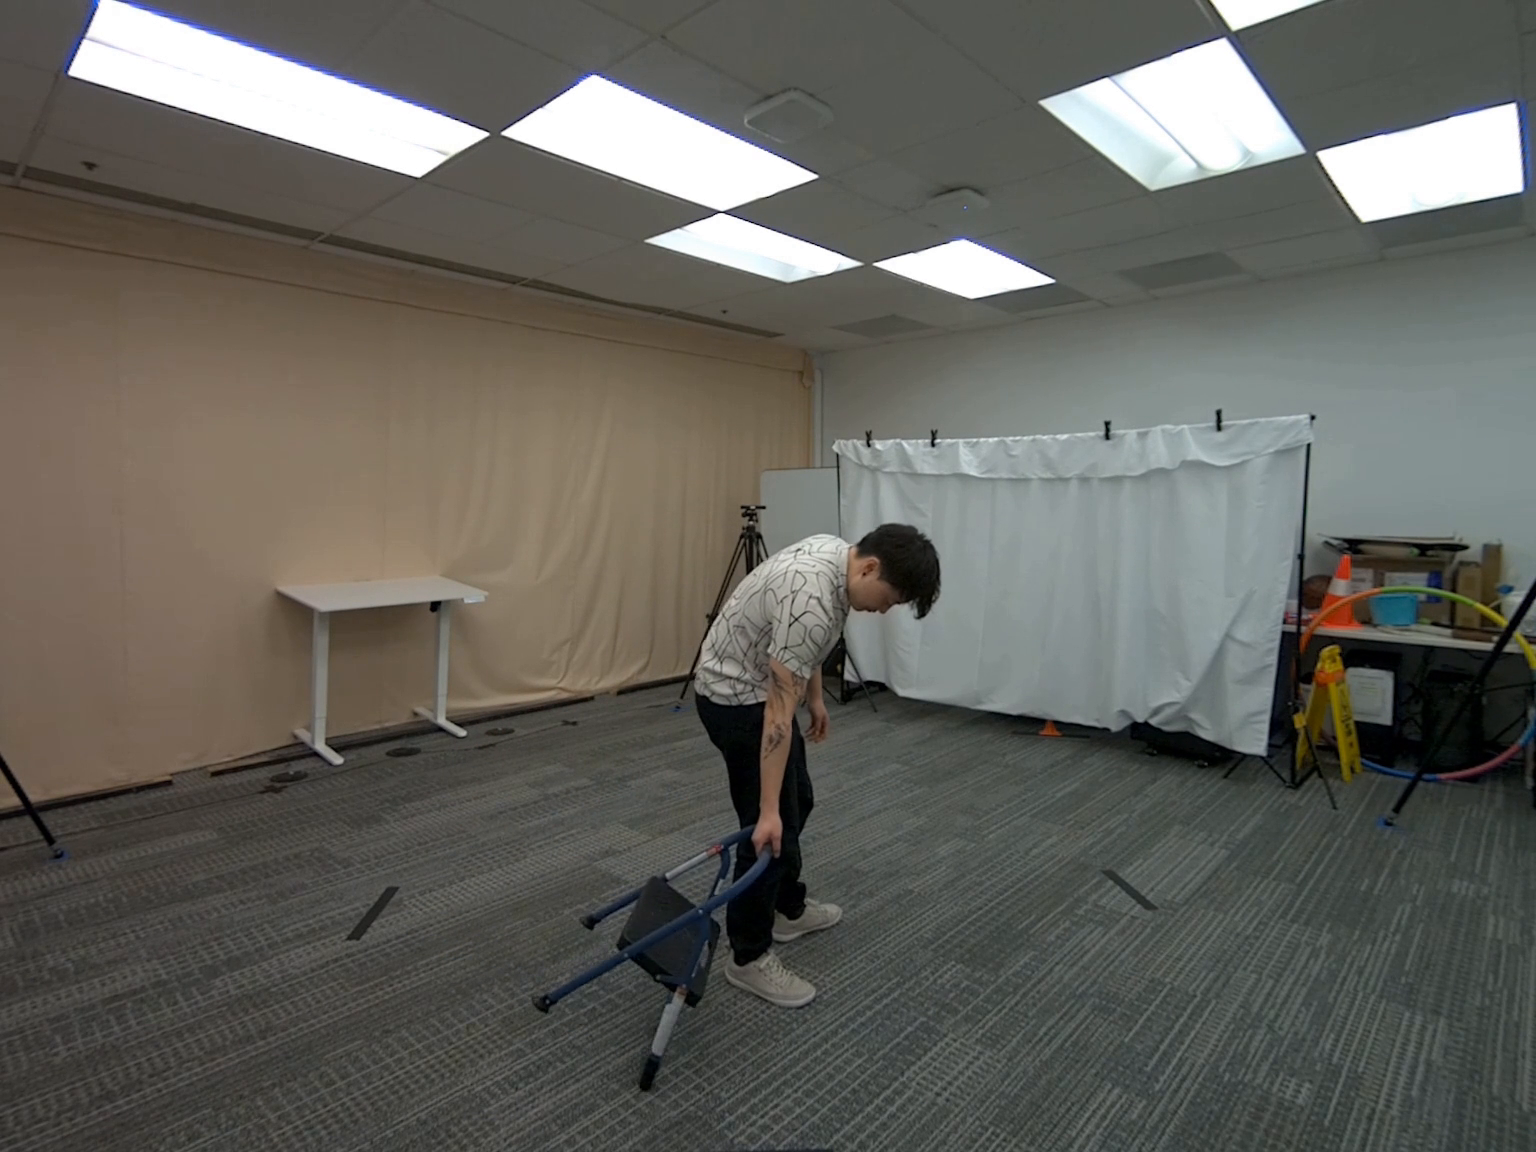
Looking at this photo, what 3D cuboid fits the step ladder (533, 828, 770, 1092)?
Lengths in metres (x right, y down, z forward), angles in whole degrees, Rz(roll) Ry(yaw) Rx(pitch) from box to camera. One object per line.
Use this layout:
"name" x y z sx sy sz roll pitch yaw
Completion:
"step ladder" -0.232 0.878 2.172 0.350 0.606 0.429 37 6 1
